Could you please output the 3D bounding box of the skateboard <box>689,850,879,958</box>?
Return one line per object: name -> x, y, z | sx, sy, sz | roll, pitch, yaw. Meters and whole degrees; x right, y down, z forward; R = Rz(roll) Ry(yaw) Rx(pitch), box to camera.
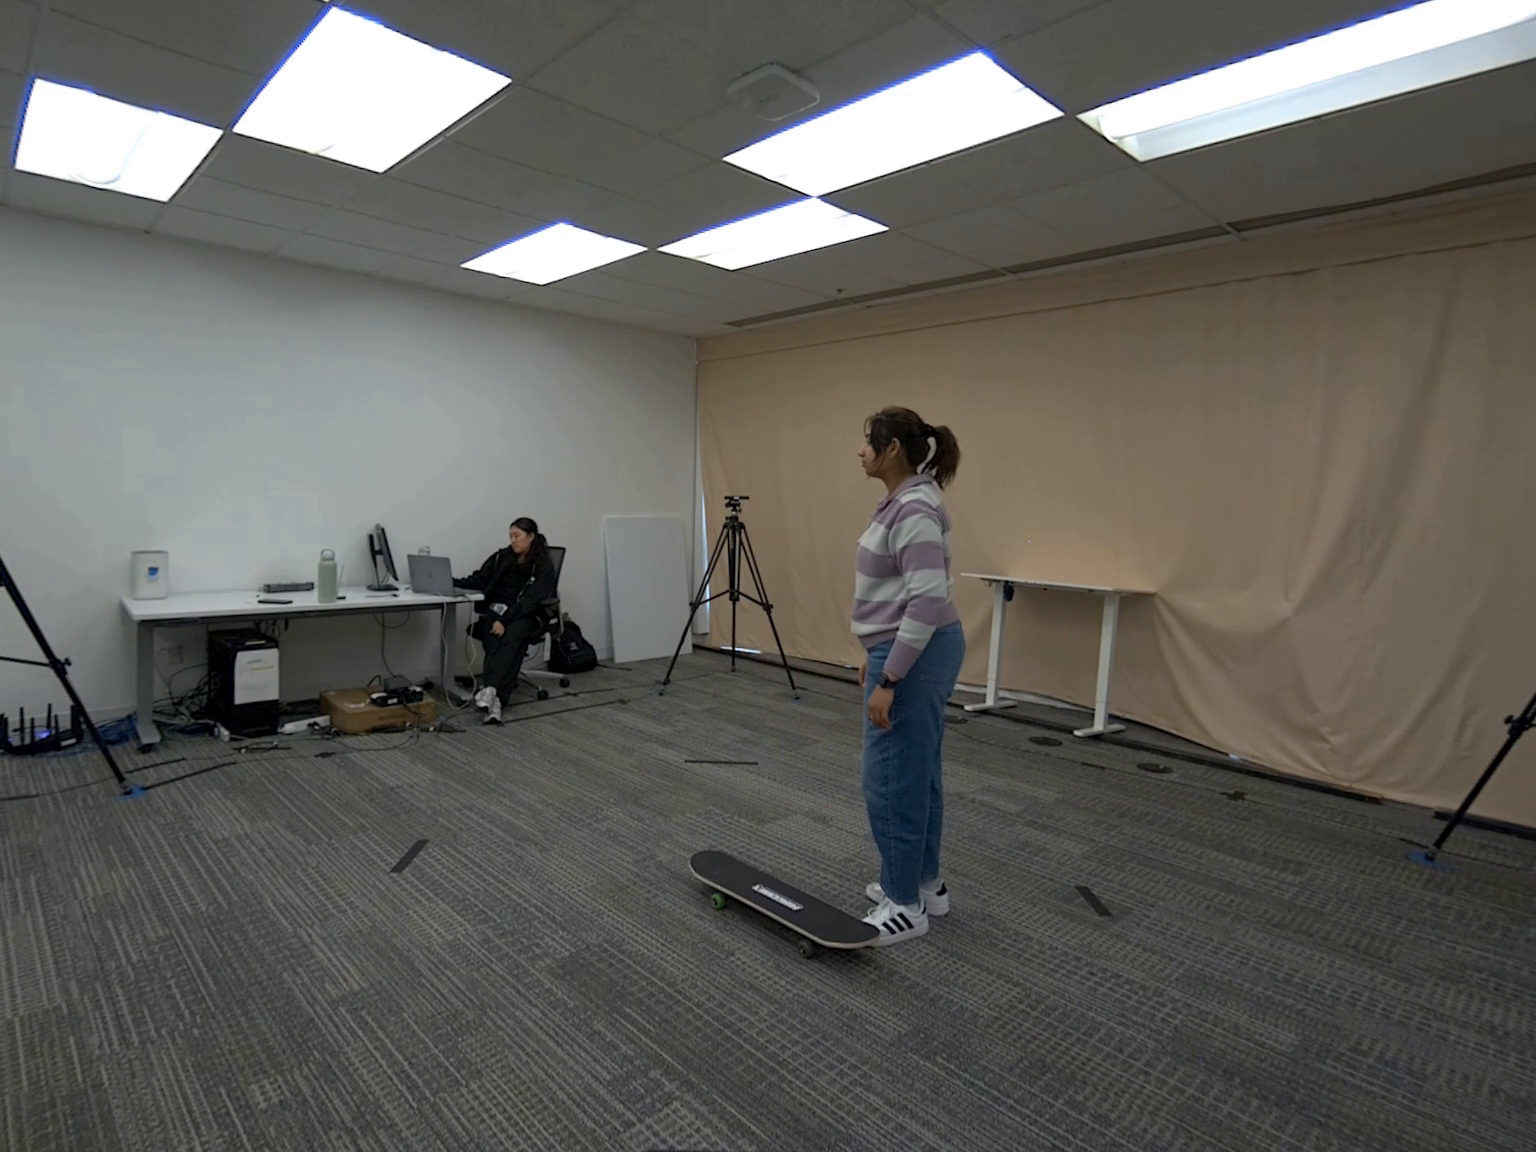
skateboard -> 0.025, 1.081, 2.761 | 0.189, 0.110, 0.806 | -3, 7, -44
